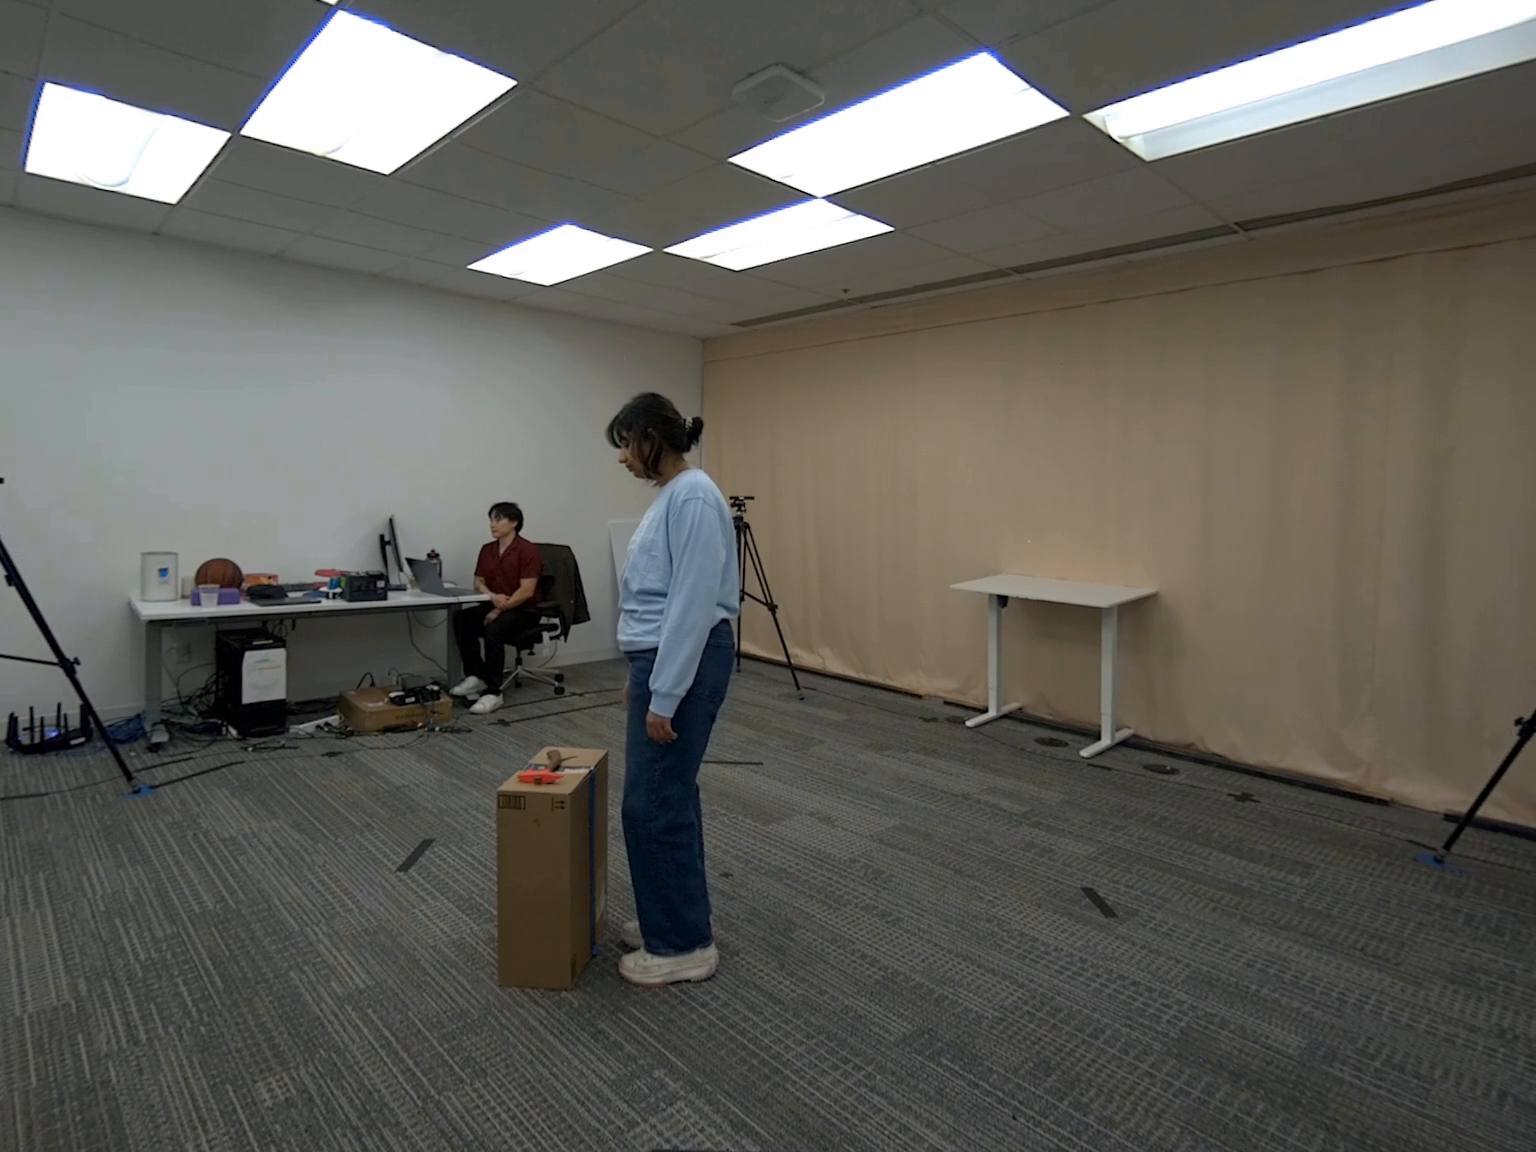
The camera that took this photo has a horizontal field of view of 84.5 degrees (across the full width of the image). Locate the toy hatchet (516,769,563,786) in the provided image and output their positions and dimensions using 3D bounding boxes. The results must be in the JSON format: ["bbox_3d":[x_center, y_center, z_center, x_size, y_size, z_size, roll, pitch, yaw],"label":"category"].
[{"bbox_3d":[-0.684,0.566,2.533,0.130,0.029,0.273,-7,5,-13],"label":"toy hatchet"}]
